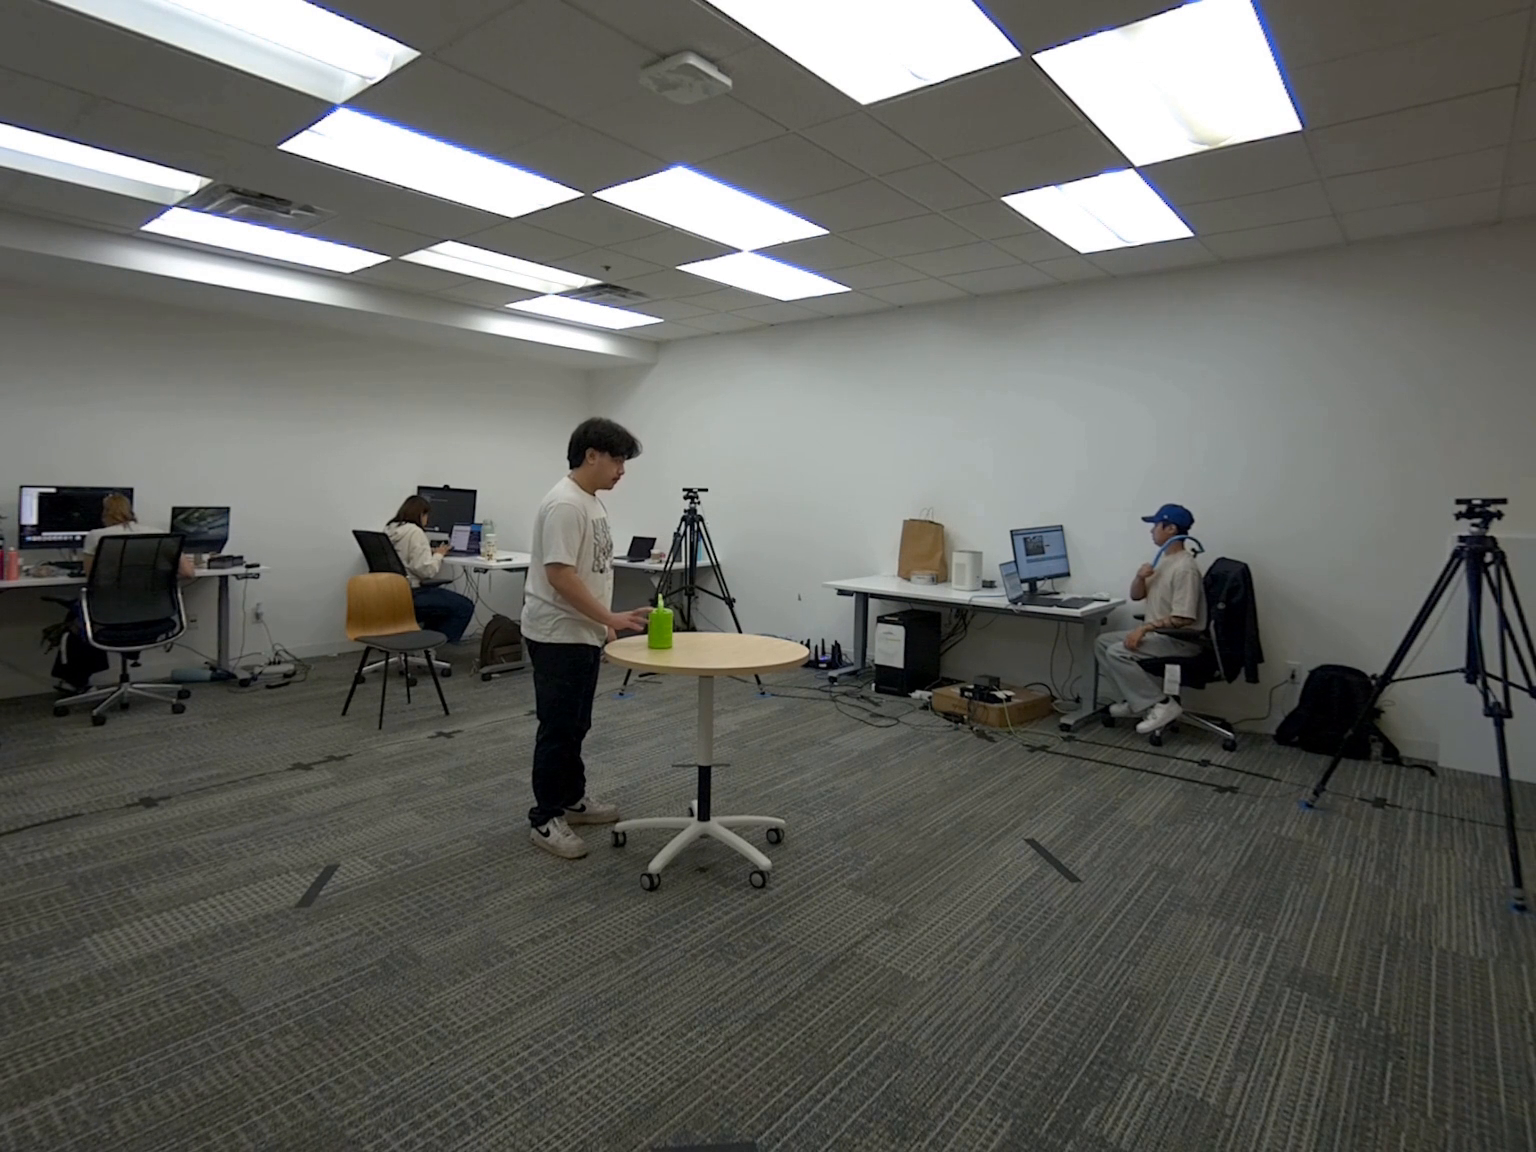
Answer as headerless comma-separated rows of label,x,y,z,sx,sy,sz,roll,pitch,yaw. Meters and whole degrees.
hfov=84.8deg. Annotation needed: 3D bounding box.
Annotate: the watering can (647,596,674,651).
watering can,-0.418,0.177,3.257,0.098,0.176,0.278,0,5,2
